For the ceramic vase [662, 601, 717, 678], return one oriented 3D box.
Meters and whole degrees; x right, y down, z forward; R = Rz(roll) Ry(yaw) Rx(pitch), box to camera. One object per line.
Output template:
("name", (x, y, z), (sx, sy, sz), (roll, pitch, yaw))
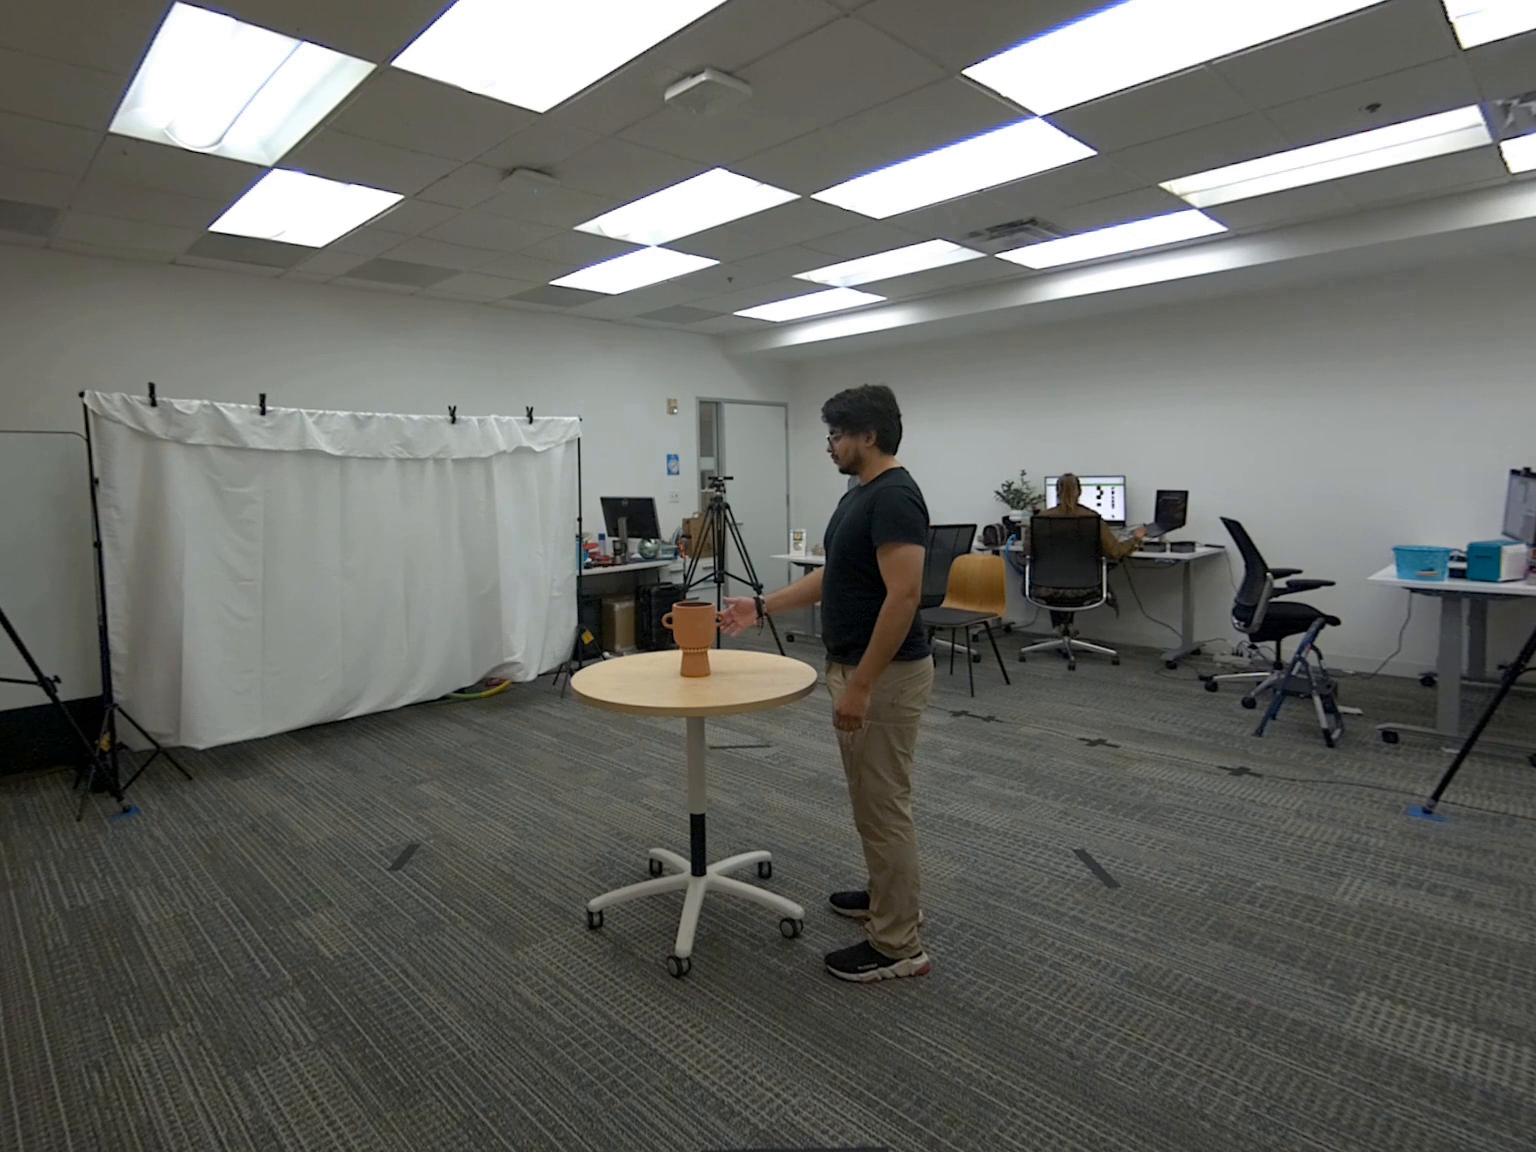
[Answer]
("ceramic vase", (-0.220, 0.196, 2.676), (0.163, 0.219, 0.131), (3, 4, 37))
